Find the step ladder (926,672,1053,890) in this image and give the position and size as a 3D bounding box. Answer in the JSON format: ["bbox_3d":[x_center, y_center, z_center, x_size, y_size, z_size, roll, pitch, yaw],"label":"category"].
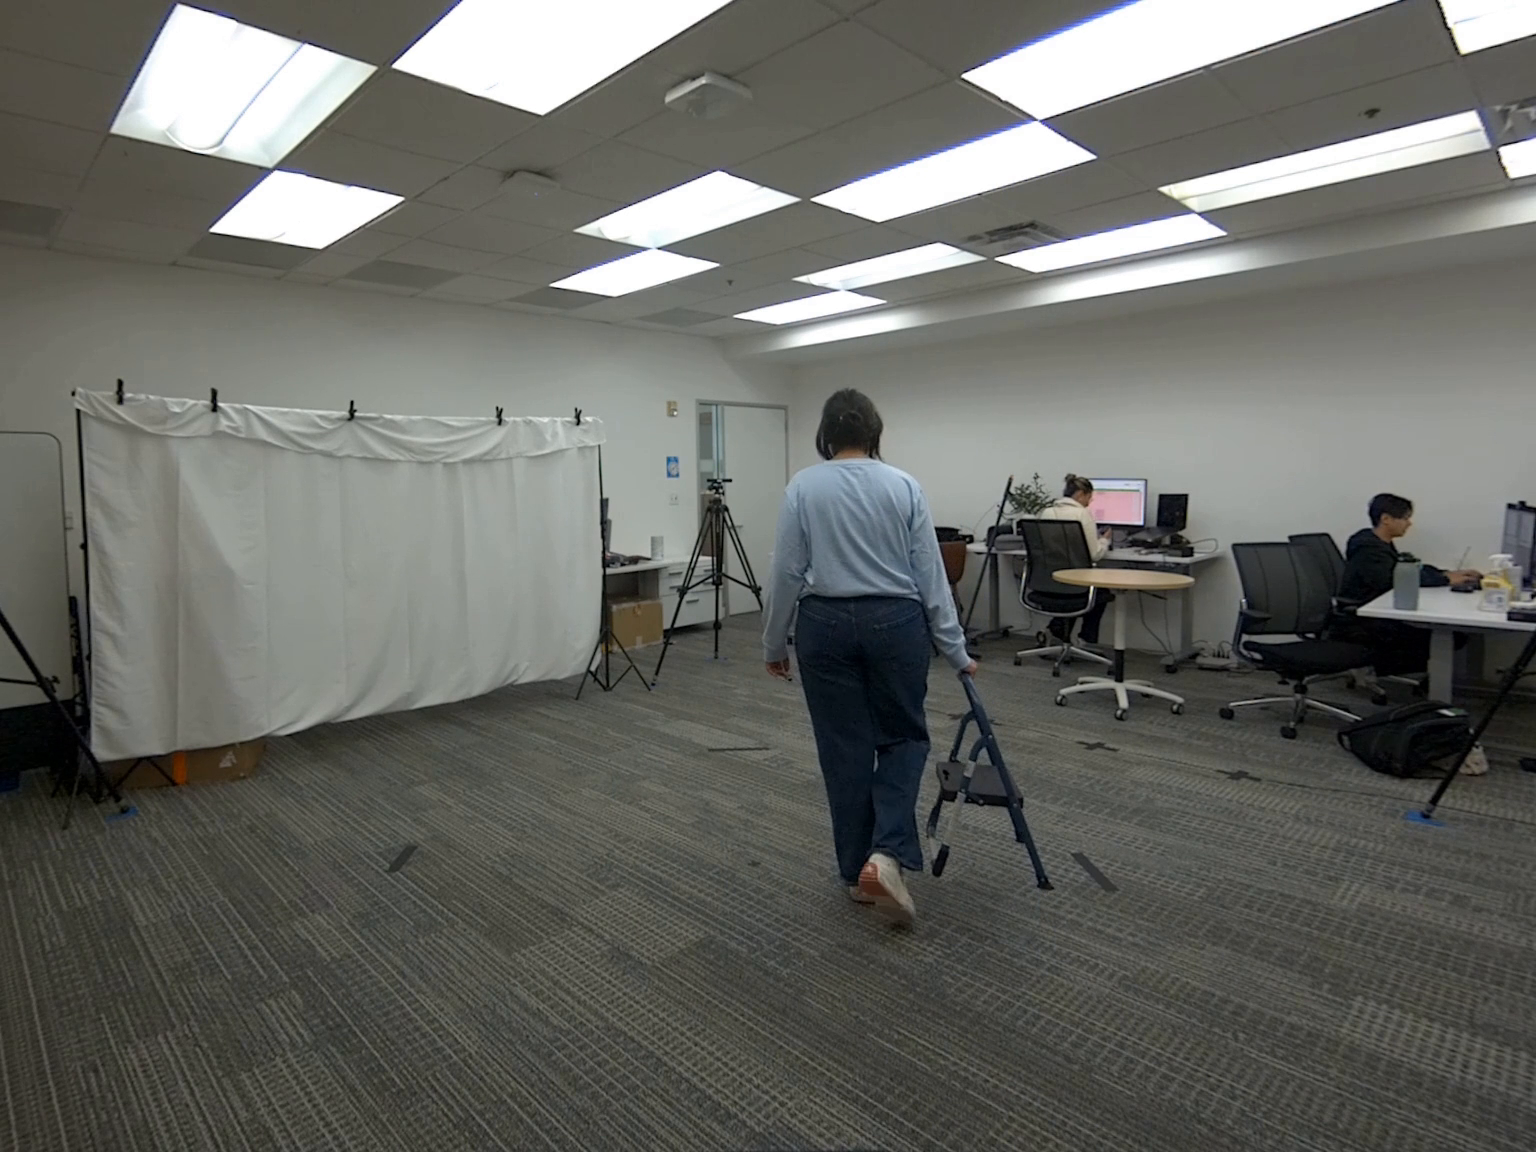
[{"bbox_3d":[0.717,0.622,2.779,0.352,0.605,0.427,3,2,7],"label":"step ladder"}]
